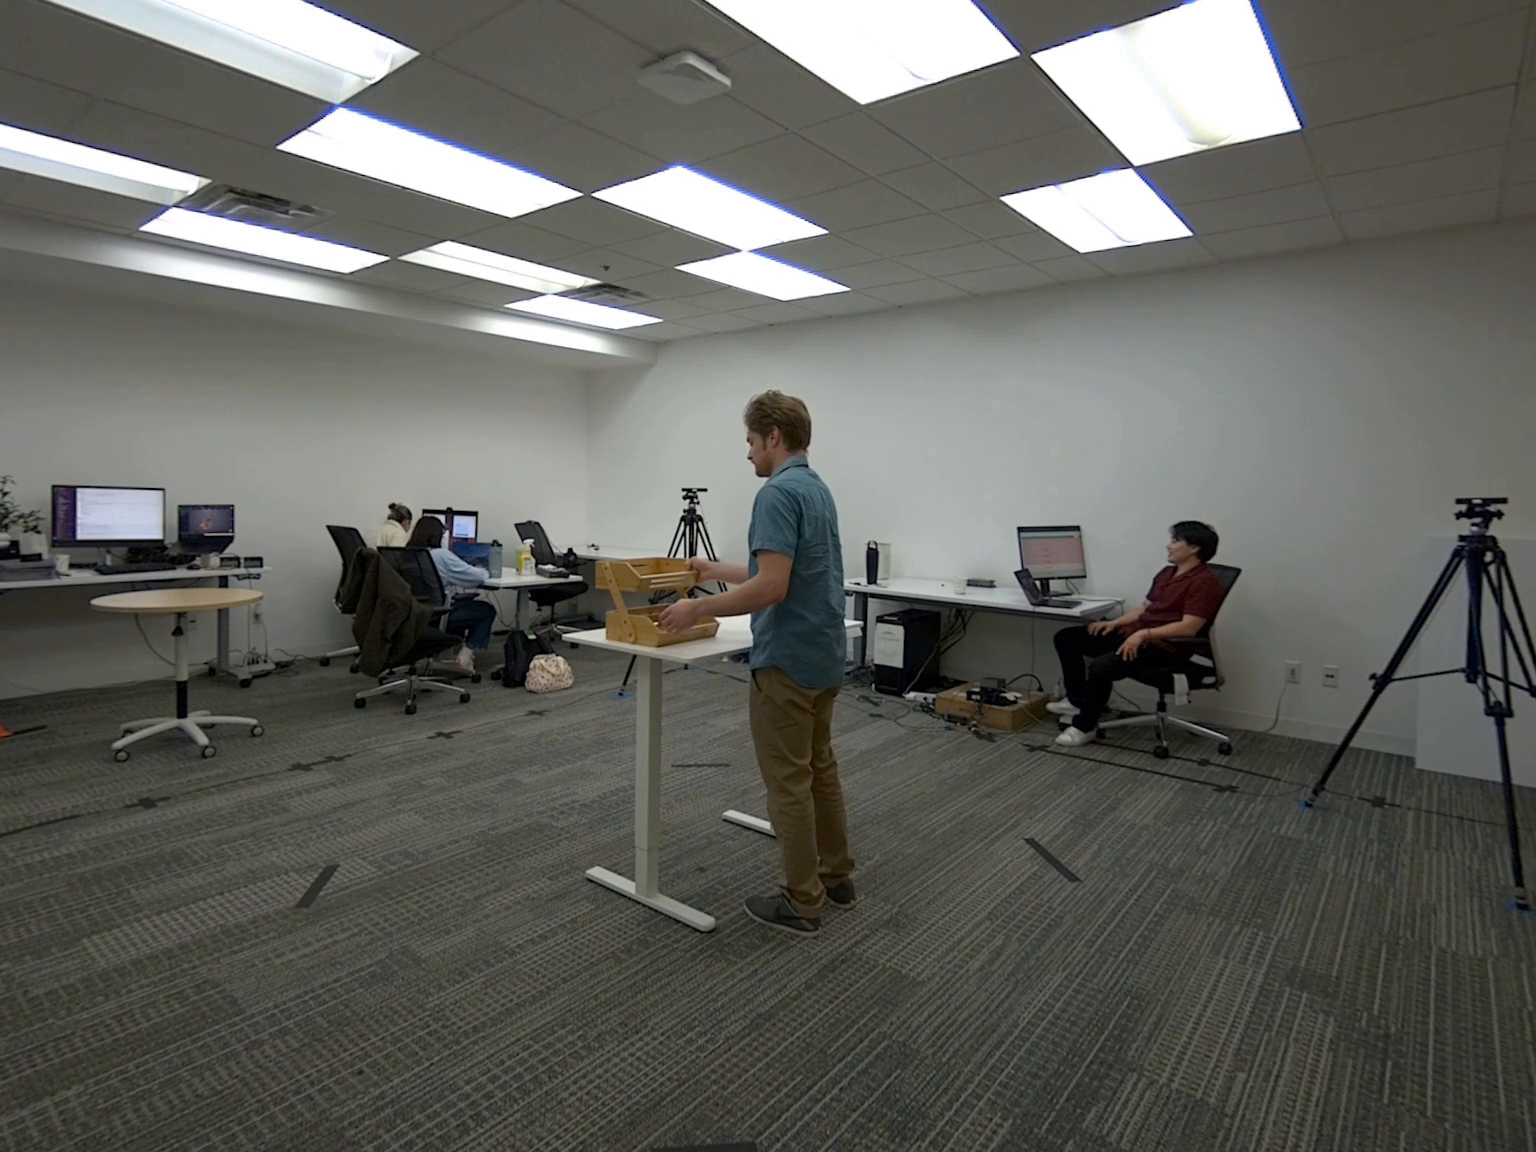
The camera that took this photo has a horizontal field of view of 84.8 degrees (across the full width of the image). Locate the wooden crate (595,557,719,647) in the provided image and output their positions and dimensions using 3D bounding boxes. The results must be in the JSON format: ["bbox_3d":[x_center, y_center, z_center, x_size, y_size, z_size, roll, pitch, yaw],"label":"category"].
[{"bbox_3d":[-0.379,0.074,2.894,0.312,0.272,0.315,3,4,37],"label":"wooden crate"}]
